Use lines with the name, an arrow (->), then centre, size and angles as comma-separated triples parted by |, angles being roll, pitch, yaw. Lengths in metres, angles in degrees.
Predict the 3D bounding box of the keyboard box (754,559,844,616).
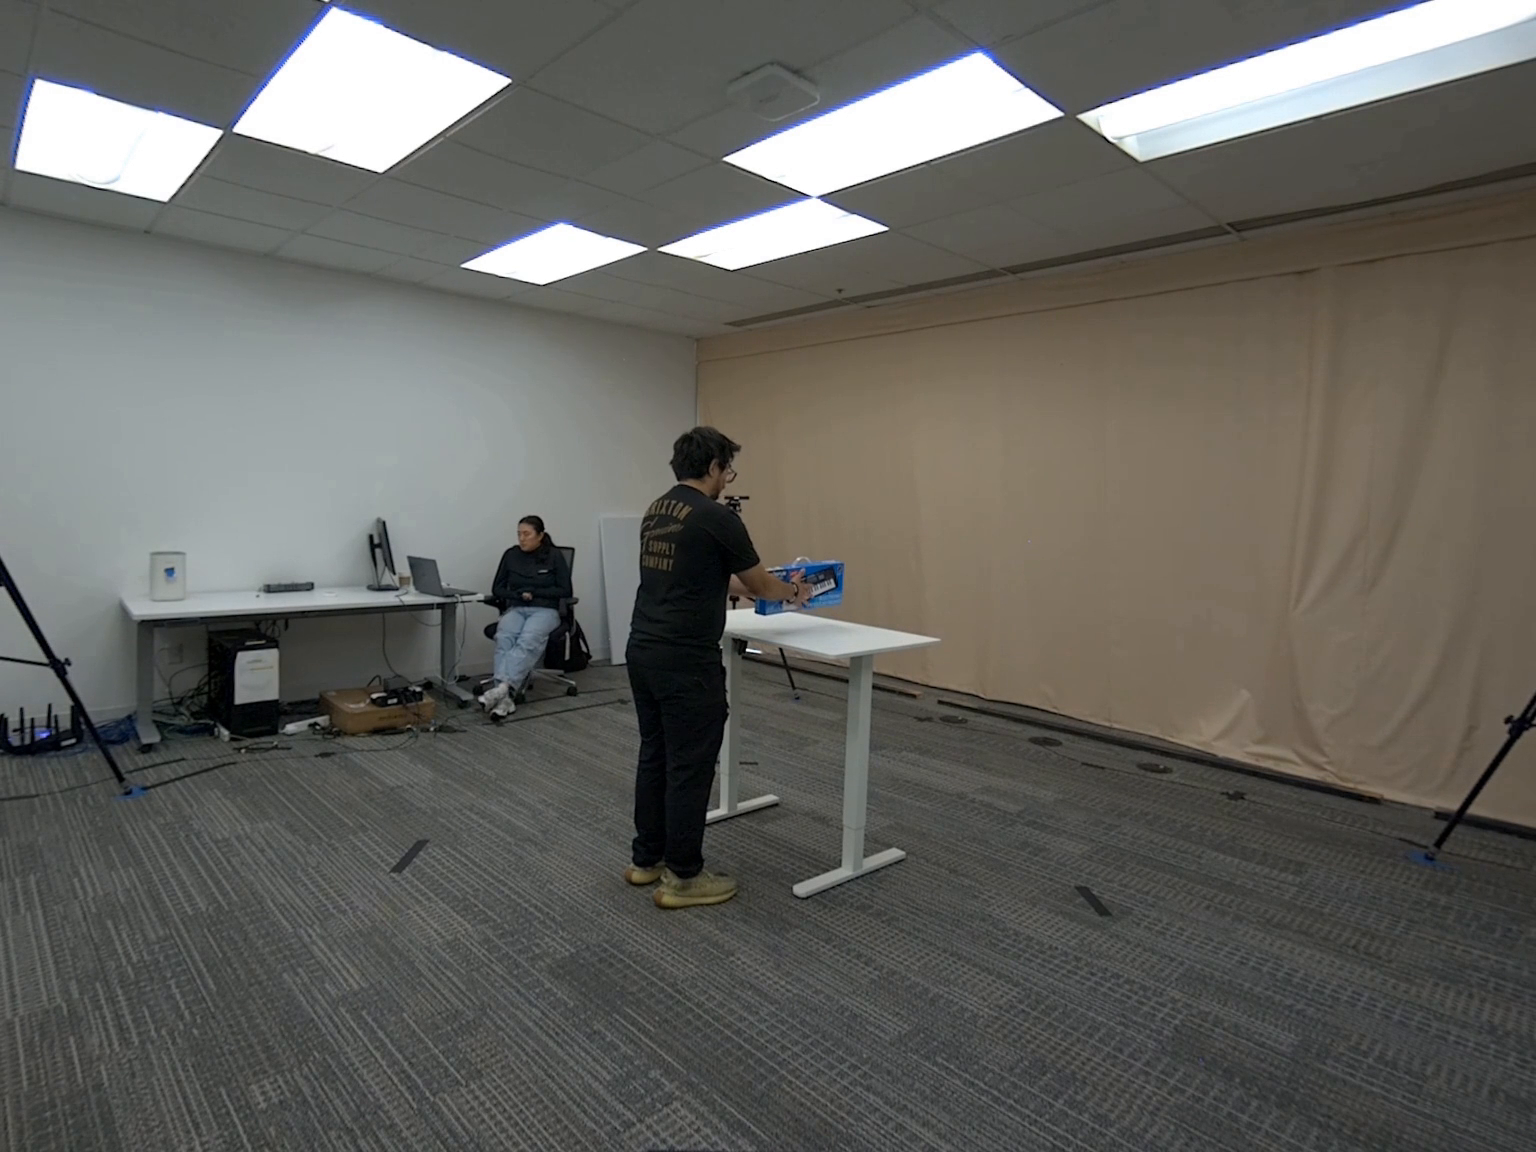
keyboard box -> 0.129, 0.049, 3.297 | 0.427, 0.175, 0.061 | -7, 12, -44
